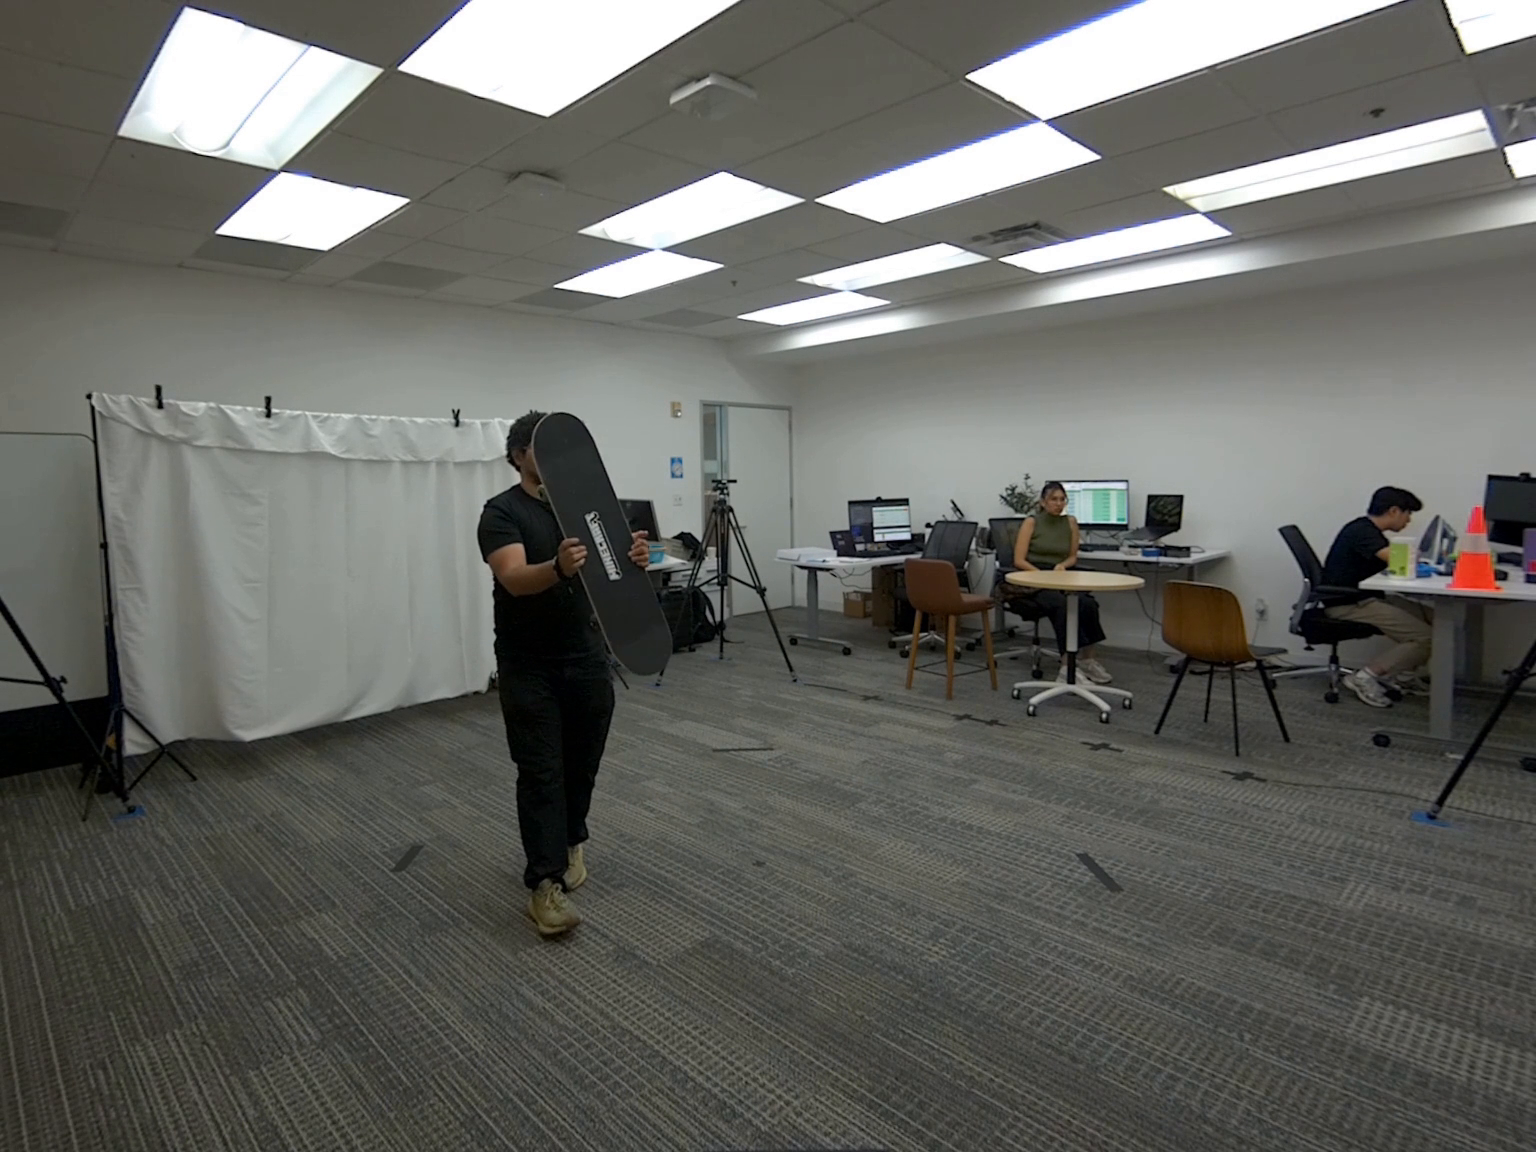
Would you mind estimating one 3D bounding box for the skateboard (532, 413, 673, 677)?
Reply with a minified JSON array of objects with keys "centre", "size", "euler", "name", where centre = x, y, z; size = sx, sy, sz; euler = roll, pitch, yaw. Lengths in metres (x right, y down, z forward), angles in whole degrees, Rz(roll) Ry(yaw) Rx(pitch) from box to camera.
[{"centre":[-0.484,-0.079,2.447],"size":[0.191,0.780,0.112],"euler":[-24,7,-31],"name":"skateboard"}]
